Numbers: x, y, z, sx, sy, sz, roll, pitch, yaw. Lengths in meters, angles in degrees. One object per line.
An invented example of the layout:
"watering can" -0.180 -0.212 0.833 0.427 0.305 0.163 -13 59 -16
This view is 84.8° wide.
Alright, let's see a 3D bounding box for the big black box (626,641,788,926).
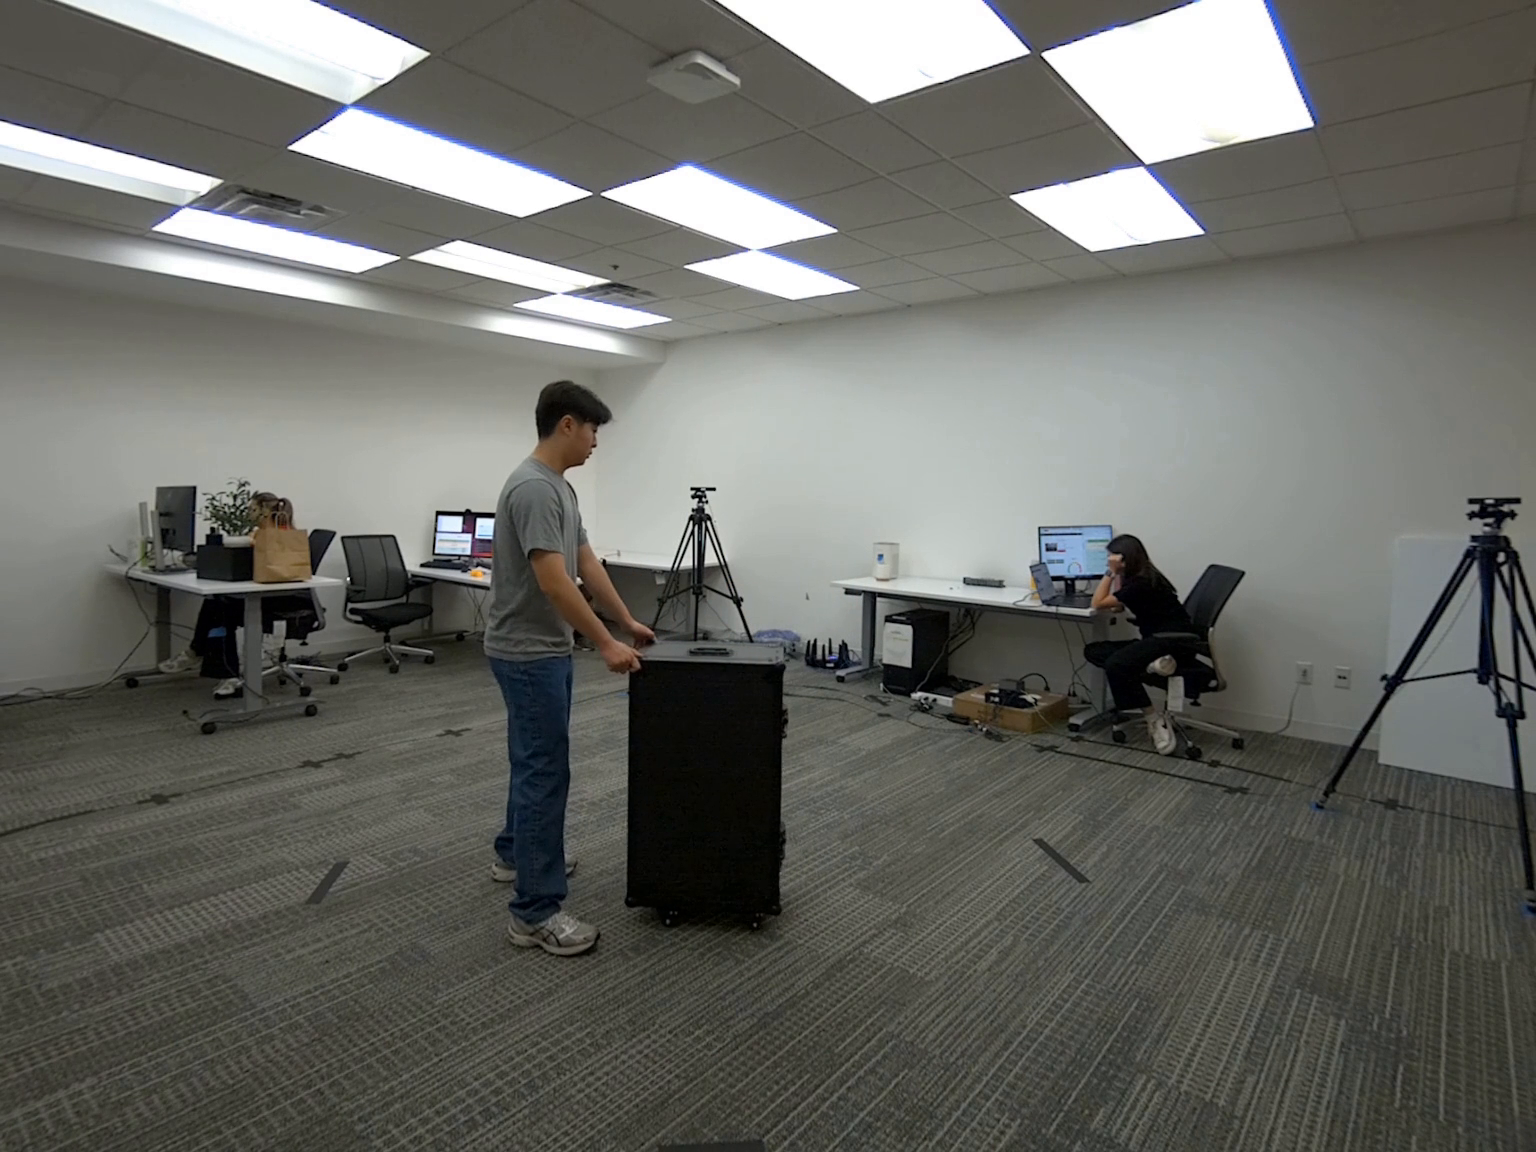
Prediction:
"big black box" -0.206 0.677 2.809 0.524 0.860 0.395 1 2 5
